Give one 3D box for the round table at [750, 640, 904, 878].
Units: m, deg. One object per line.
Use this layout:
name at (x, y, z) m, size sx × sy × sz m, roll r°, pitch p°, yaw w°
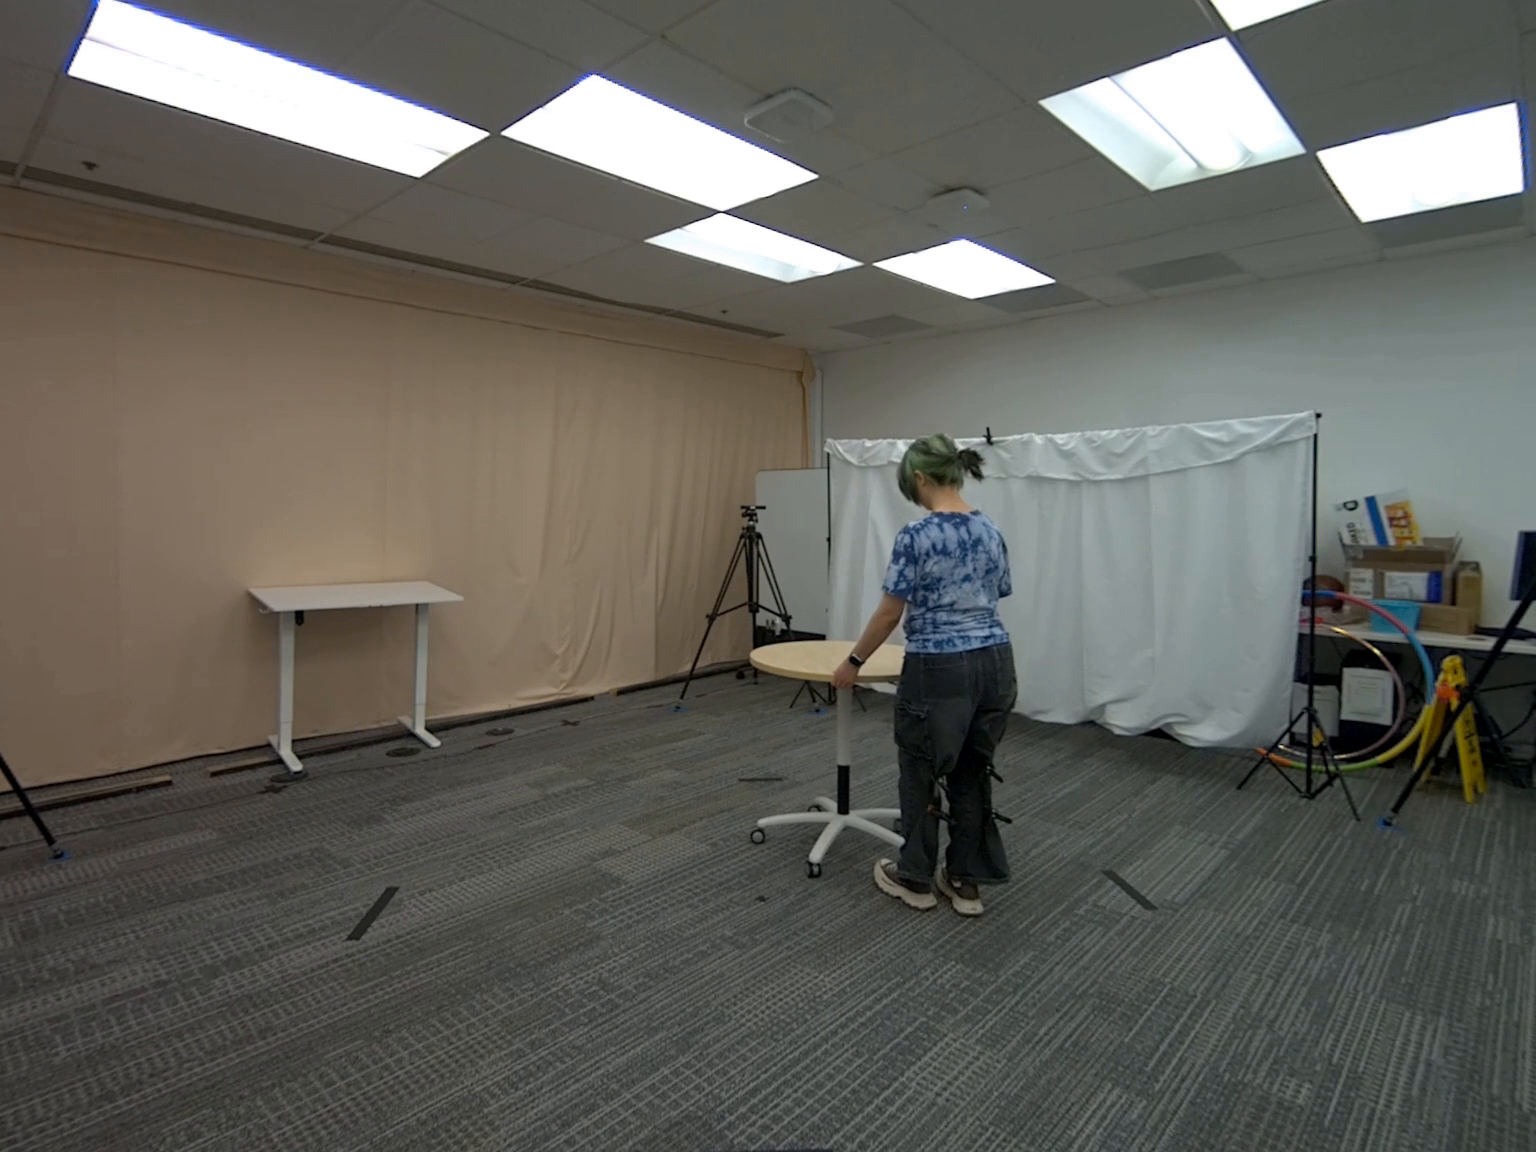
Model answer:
round table at (0.302, 0.717, 3.416) m, size 0.763 × 0.792 × 0.767 m, roll 0°, pitch 4°, yaw -2°
